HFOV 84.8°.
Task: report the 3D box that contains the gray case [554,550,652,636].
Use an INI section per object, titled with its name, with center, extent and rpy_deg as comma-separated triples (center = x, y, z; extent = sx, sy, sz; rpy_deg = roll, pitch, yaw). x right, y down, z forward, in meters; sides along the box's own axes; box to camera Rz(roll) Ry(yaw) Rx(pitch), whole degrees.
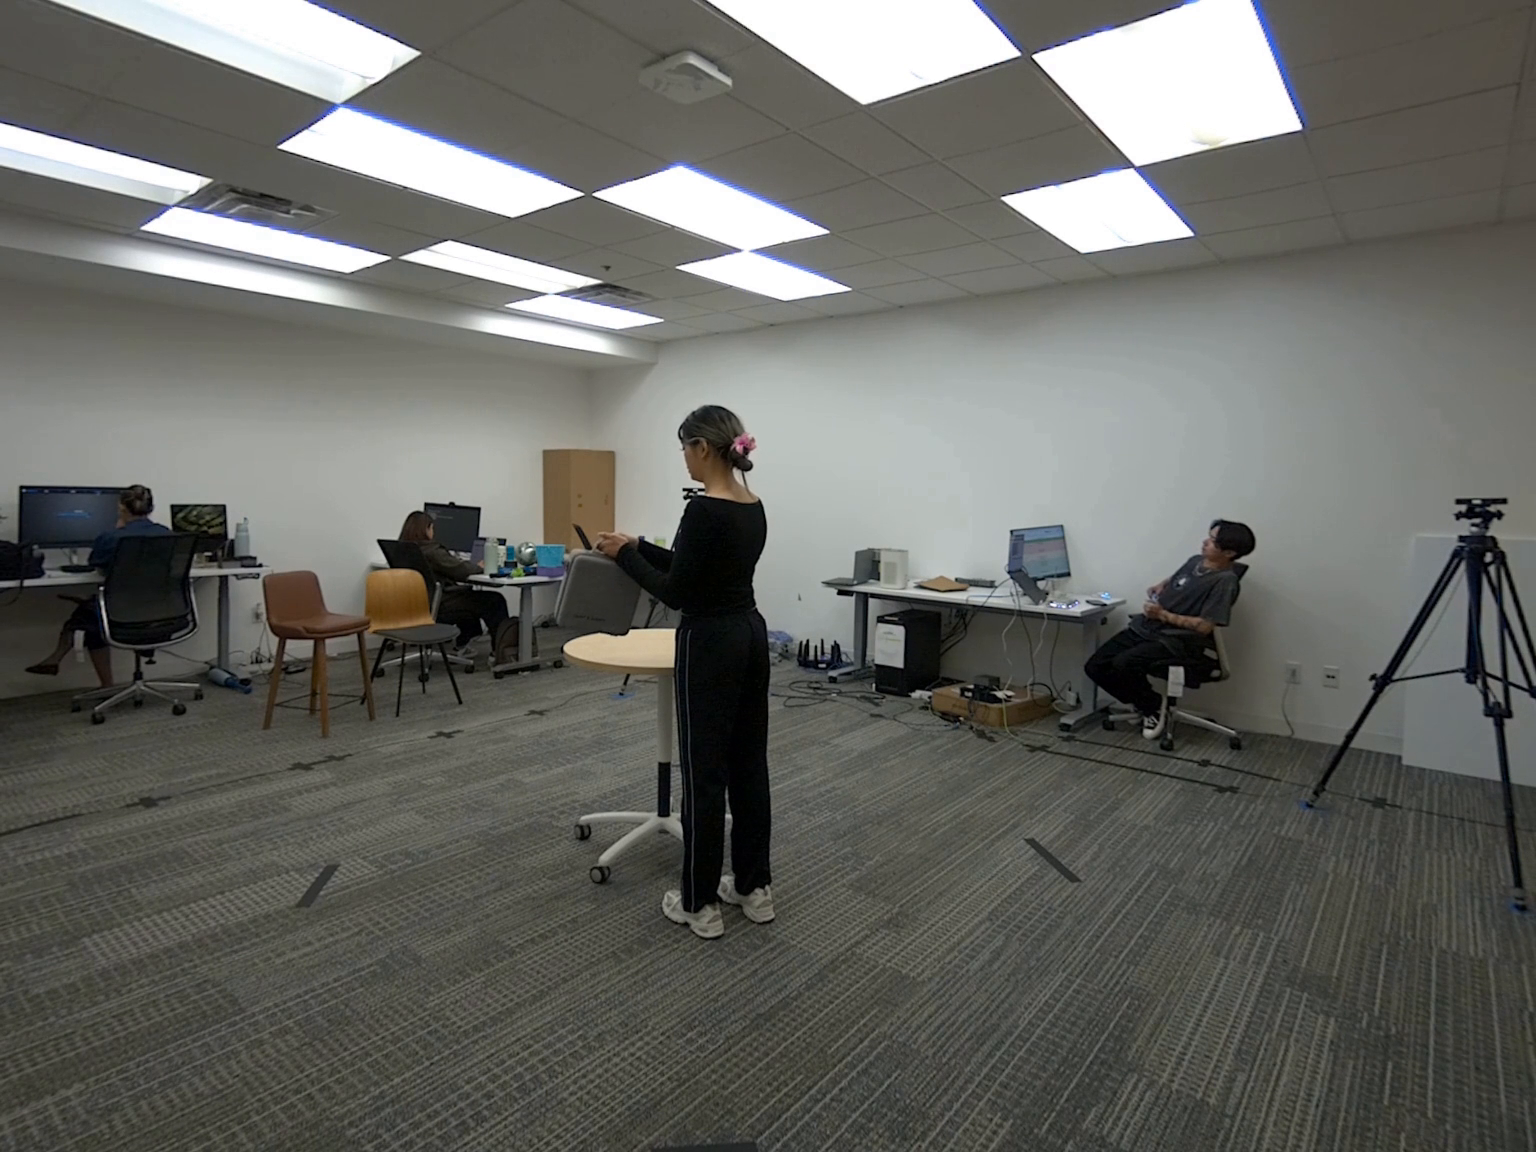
[gray case]
center = -0.562, 0.051, 2.775
extent = 0.250, 0.259, 0.108
rpy_deg = 13, 10, -25
